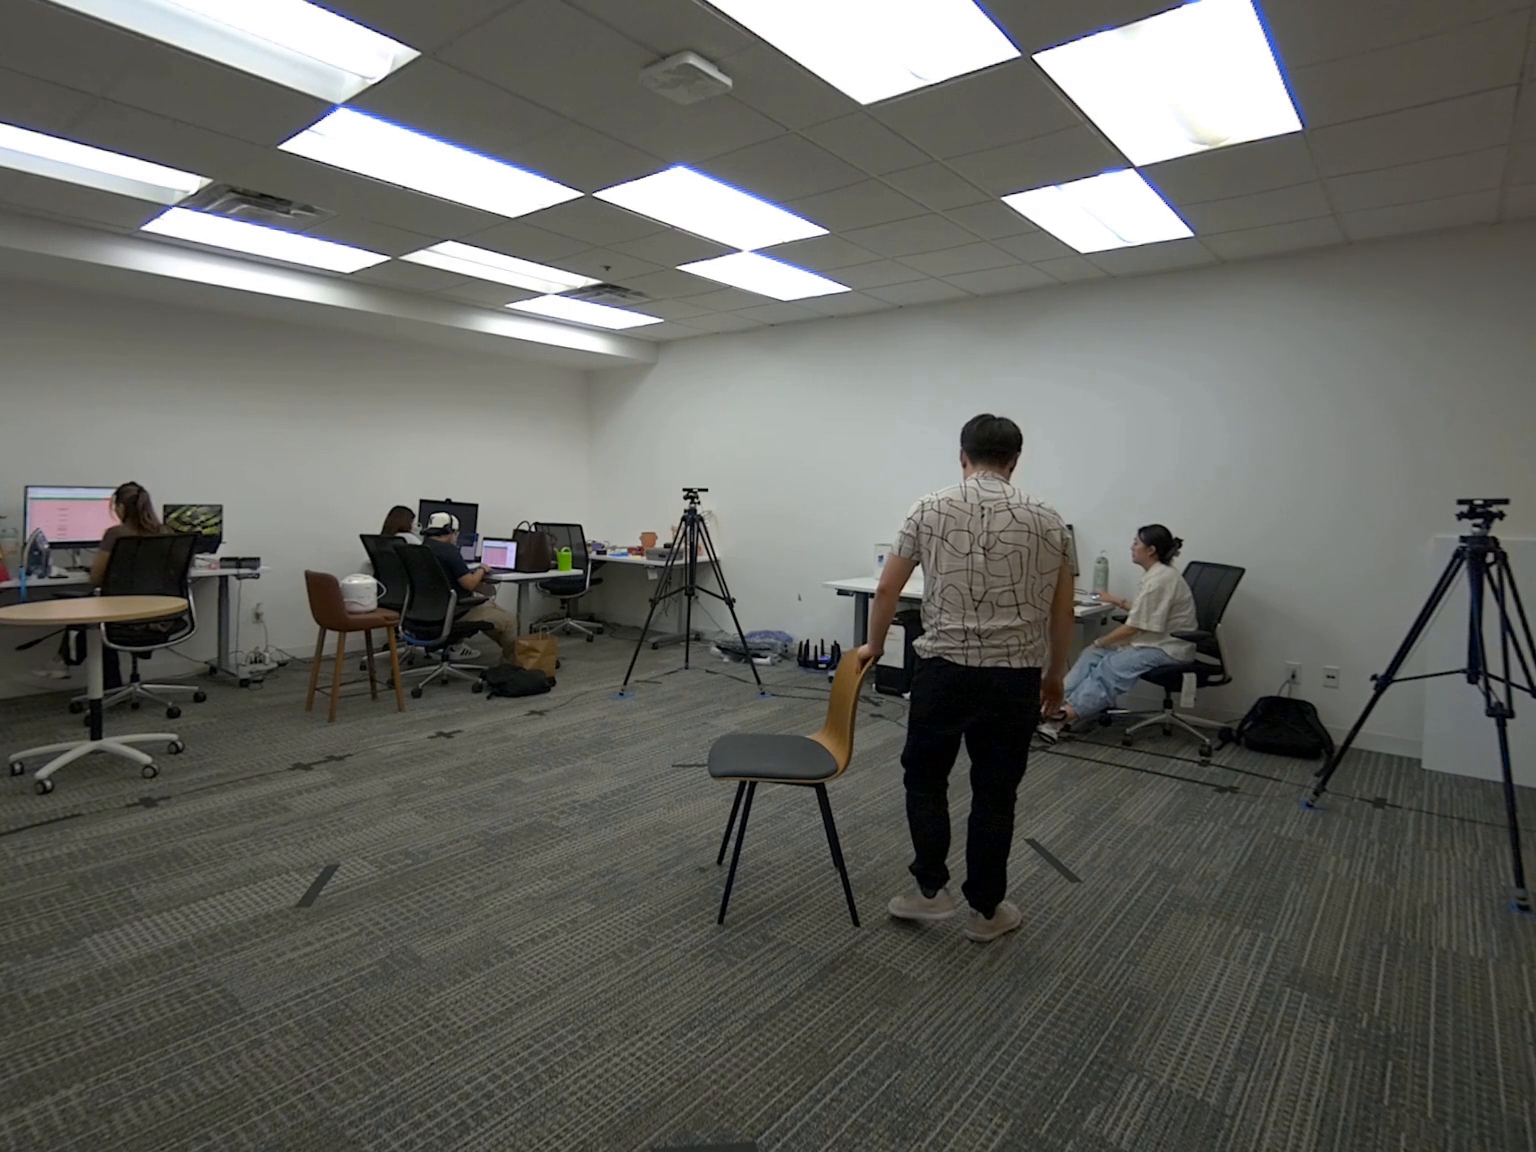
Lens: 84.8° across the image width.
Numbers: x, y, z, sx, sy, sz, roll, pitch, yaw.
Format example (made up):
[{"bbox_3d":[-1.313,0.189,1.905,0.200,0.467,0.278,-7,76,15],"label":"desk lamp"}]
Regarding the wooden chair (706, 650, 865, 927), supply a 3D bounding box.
[{"bbox_3d":[0.048,0.665,2.906,0.522,0.875,0.481,5,4,-3],"label":"wooden chair"}]
